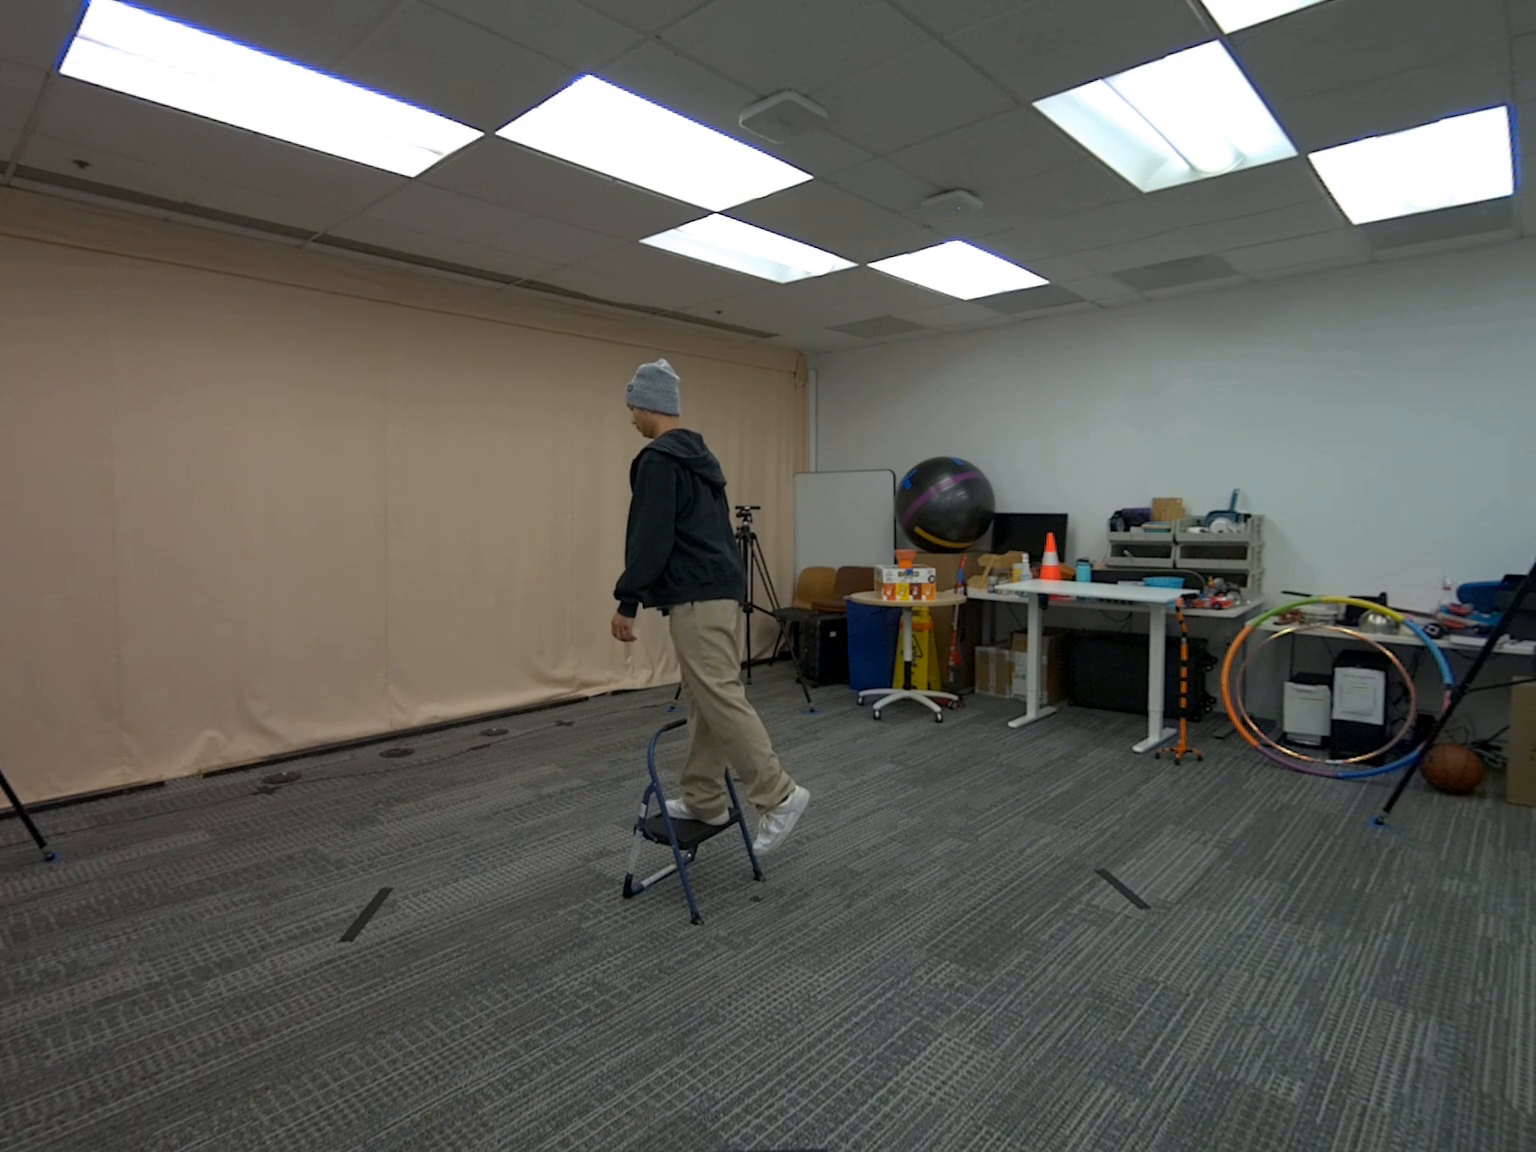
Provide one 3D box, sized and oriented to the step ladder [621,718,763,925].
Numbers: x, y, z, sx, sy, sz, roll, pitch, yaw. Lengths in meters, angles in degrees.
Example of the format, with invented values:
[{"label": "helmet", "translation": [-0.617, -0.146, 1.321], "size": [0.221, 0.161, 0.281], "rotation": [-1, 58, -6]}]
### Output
[{"label": "step ladder", "translation": [-0.269, 0.839, 3.053], "size": [0.360, 0.605, 0.419], "rotation": [1, 4, 32]}]
